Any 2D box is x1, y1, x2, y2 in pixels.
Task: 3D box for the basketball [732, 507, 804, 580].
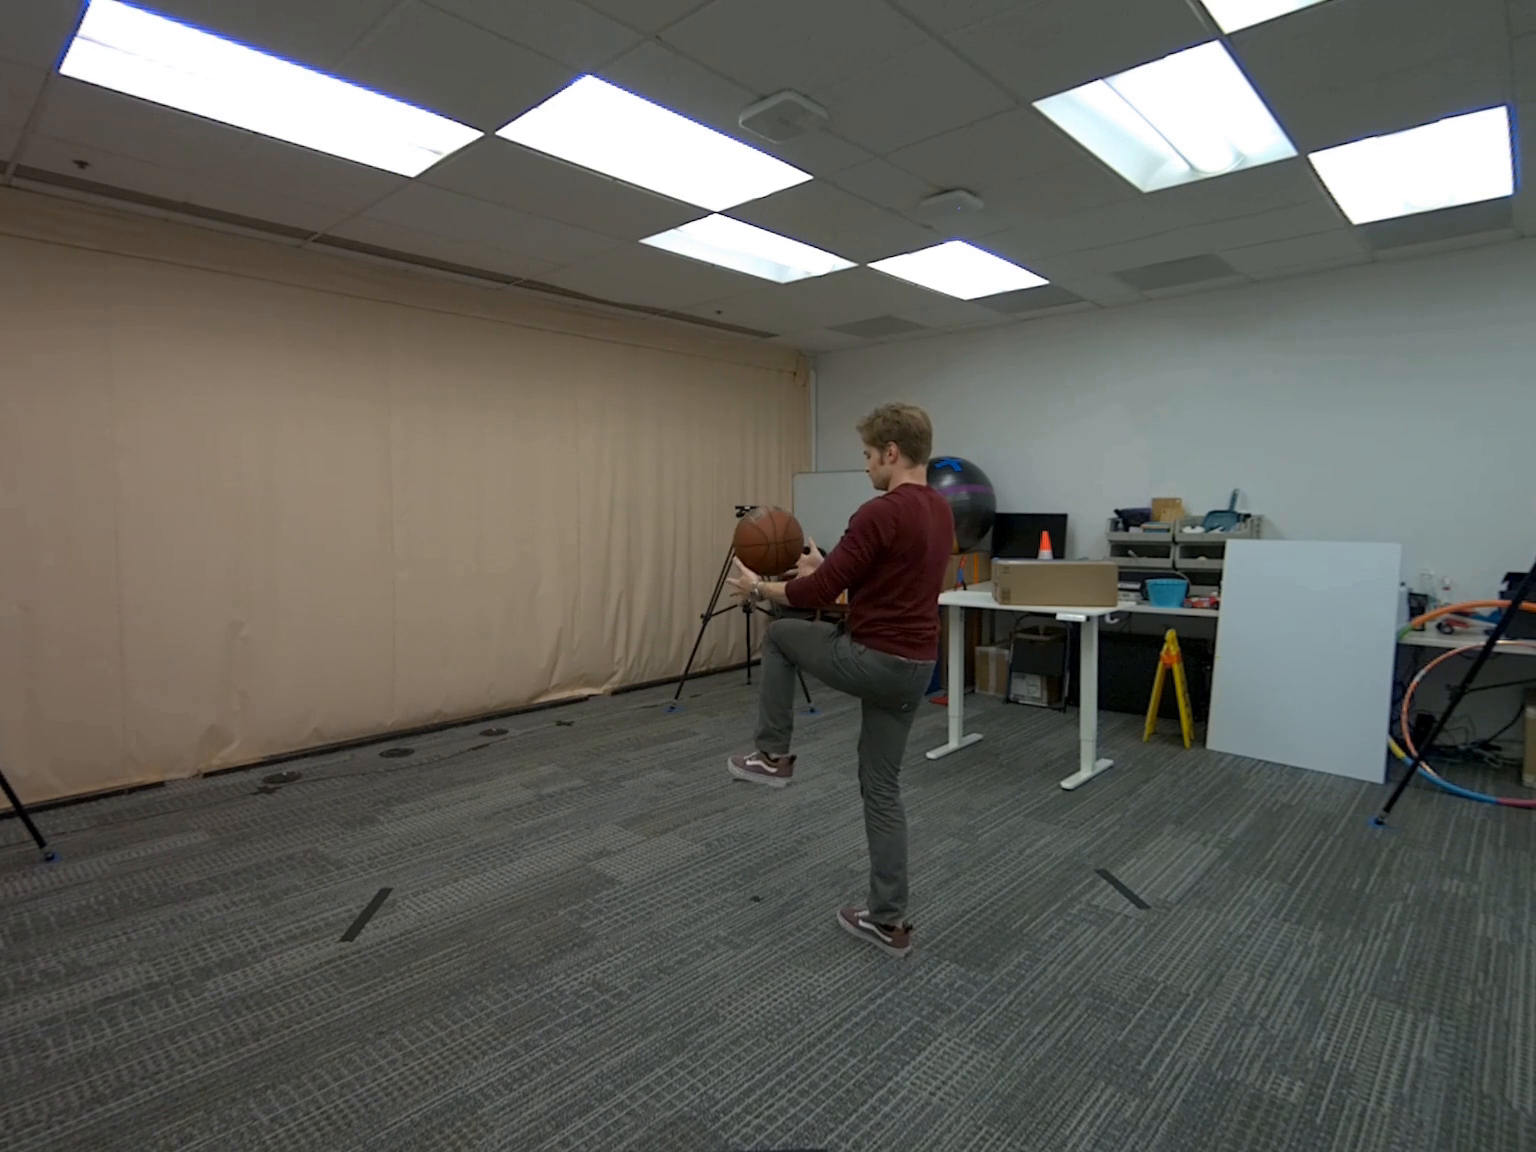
[{"bbox_3d":[0.009,-0.101,2.840,0.236,0.235,0.237,0,4,-2],"label":"basketball"}]
